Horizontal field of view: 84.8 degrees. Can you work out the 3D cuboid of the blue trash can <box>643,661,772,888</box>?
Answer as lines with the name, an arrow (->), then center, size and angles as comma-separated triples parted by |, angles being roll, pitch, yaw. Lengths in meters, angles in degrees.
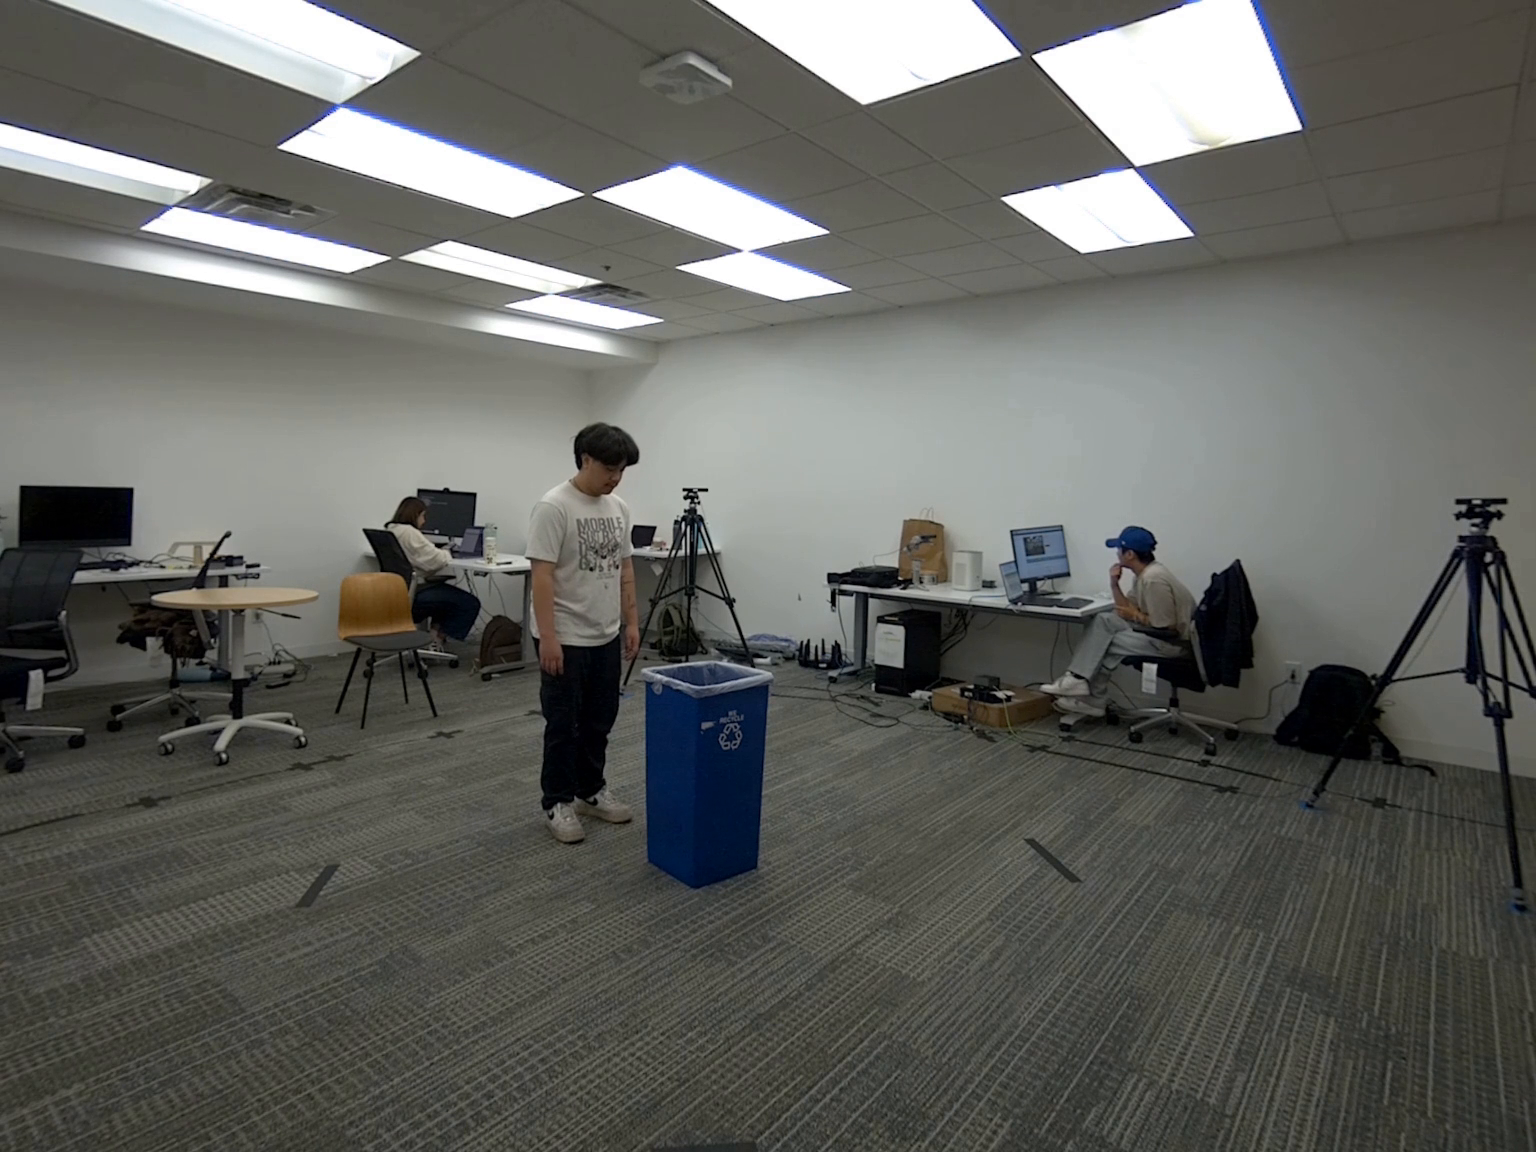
blue trash can -> -0.239, 0.706, 3.145 | 0.363, 0.711, 0.391 | -2, 4, -41
